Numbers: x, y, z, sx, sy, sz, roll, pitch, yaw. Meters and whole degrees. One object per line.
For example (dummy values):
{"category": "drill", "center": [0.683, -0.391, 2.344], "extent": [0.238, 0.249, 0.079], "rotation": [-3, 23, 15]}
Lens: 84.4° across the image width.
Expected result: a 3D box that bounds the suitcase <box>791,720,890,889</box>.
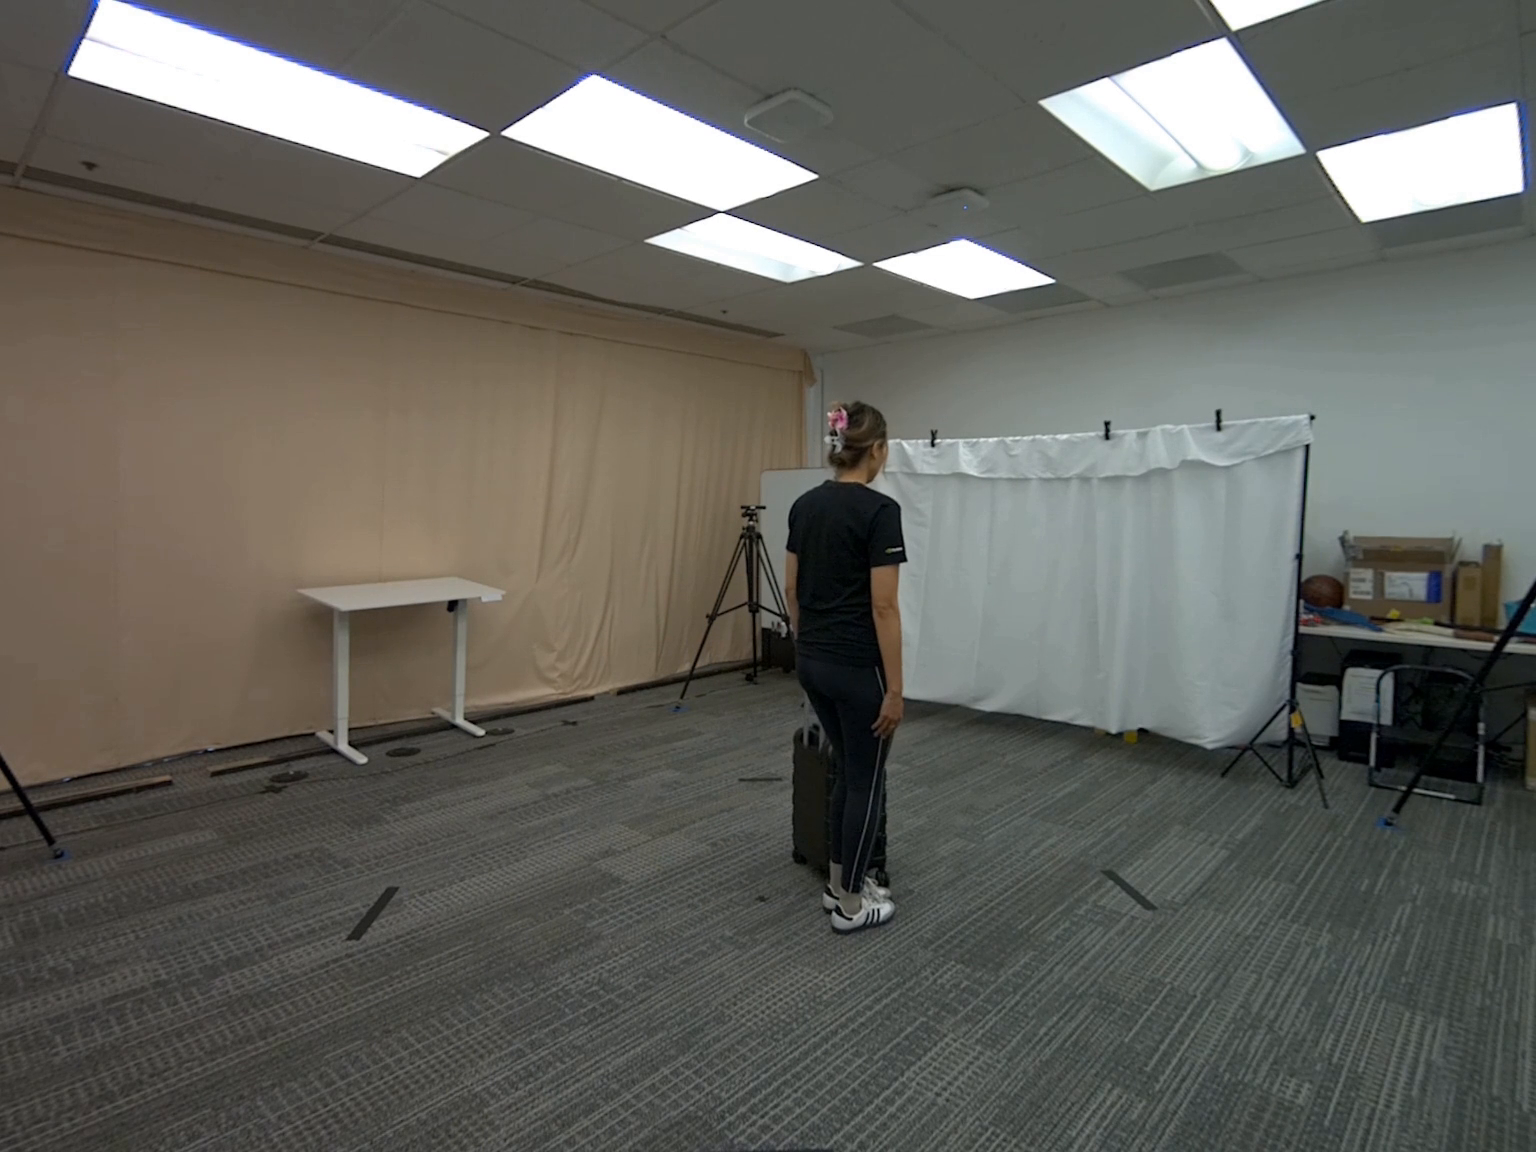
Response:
{"category": "suitcase", "center": [0.274, 0.646, 3.187], "extent": [0.252, 0.977, 0.392], "rotation": [0, 3, -20]}
